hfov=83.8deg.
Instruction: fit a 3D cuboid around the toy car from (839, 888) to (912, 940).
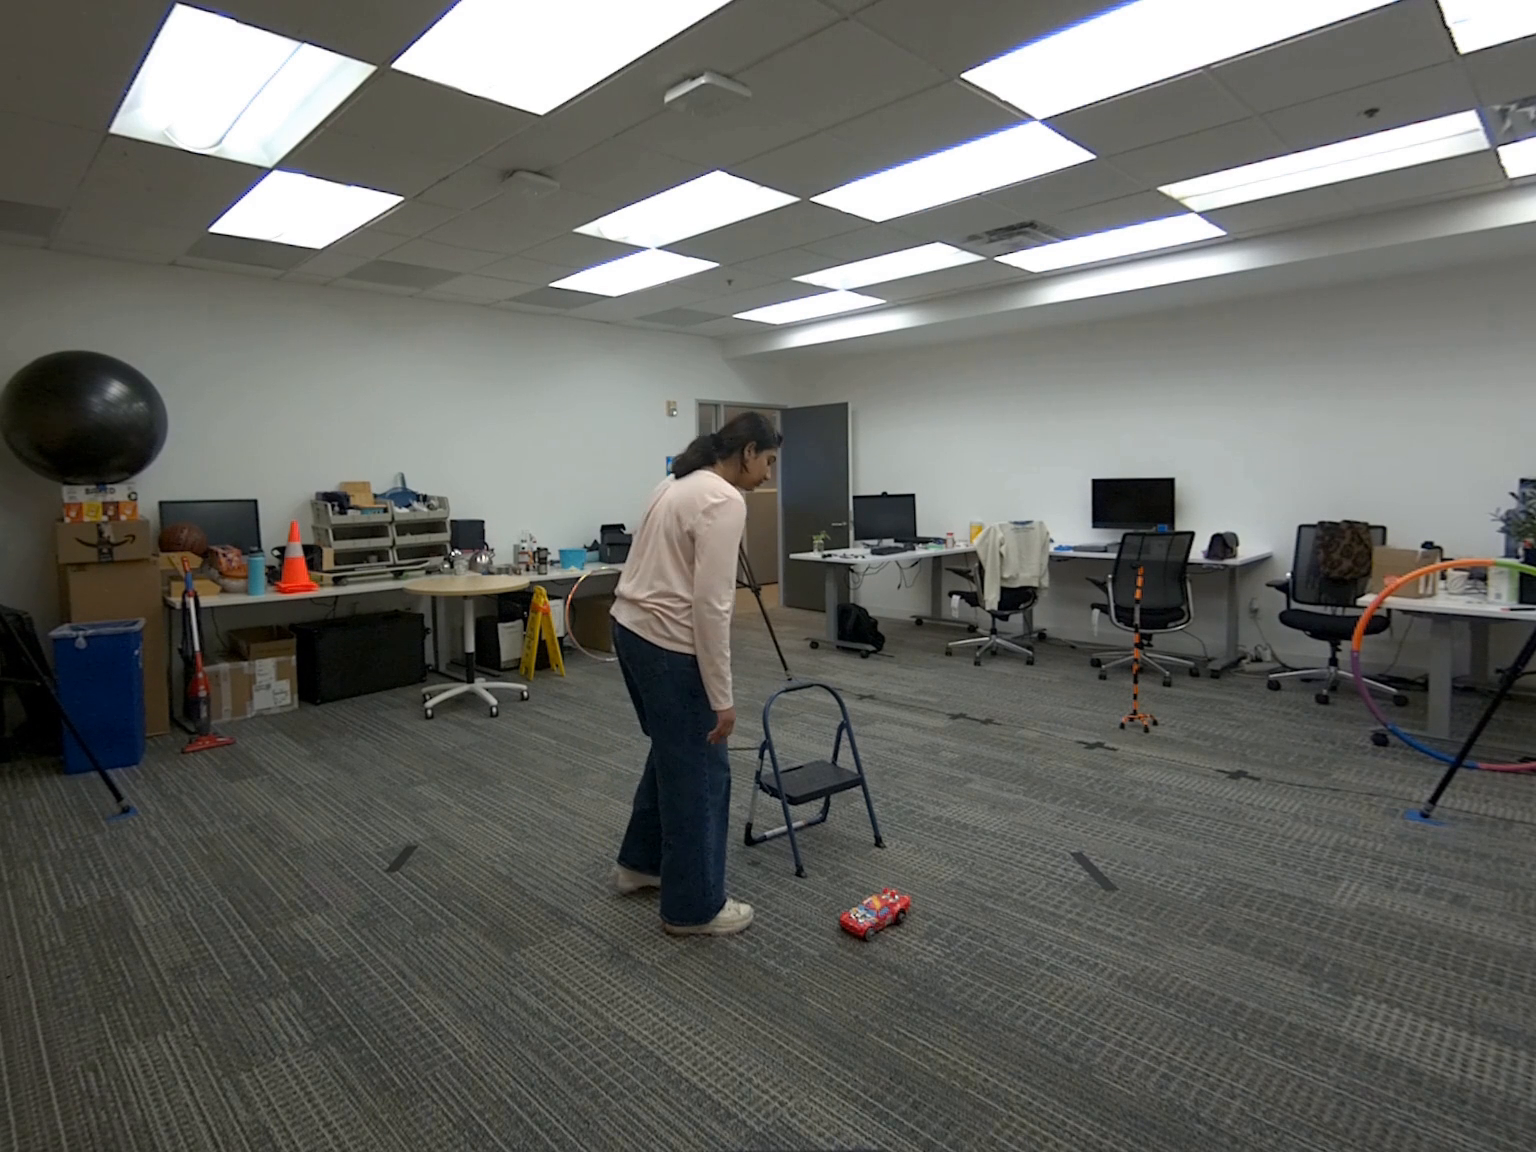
[{"bbox_3d":[0.339,1.051,2.668,0.250,0.082,0.134,-20,18,-37],"label":"toy car"}]
